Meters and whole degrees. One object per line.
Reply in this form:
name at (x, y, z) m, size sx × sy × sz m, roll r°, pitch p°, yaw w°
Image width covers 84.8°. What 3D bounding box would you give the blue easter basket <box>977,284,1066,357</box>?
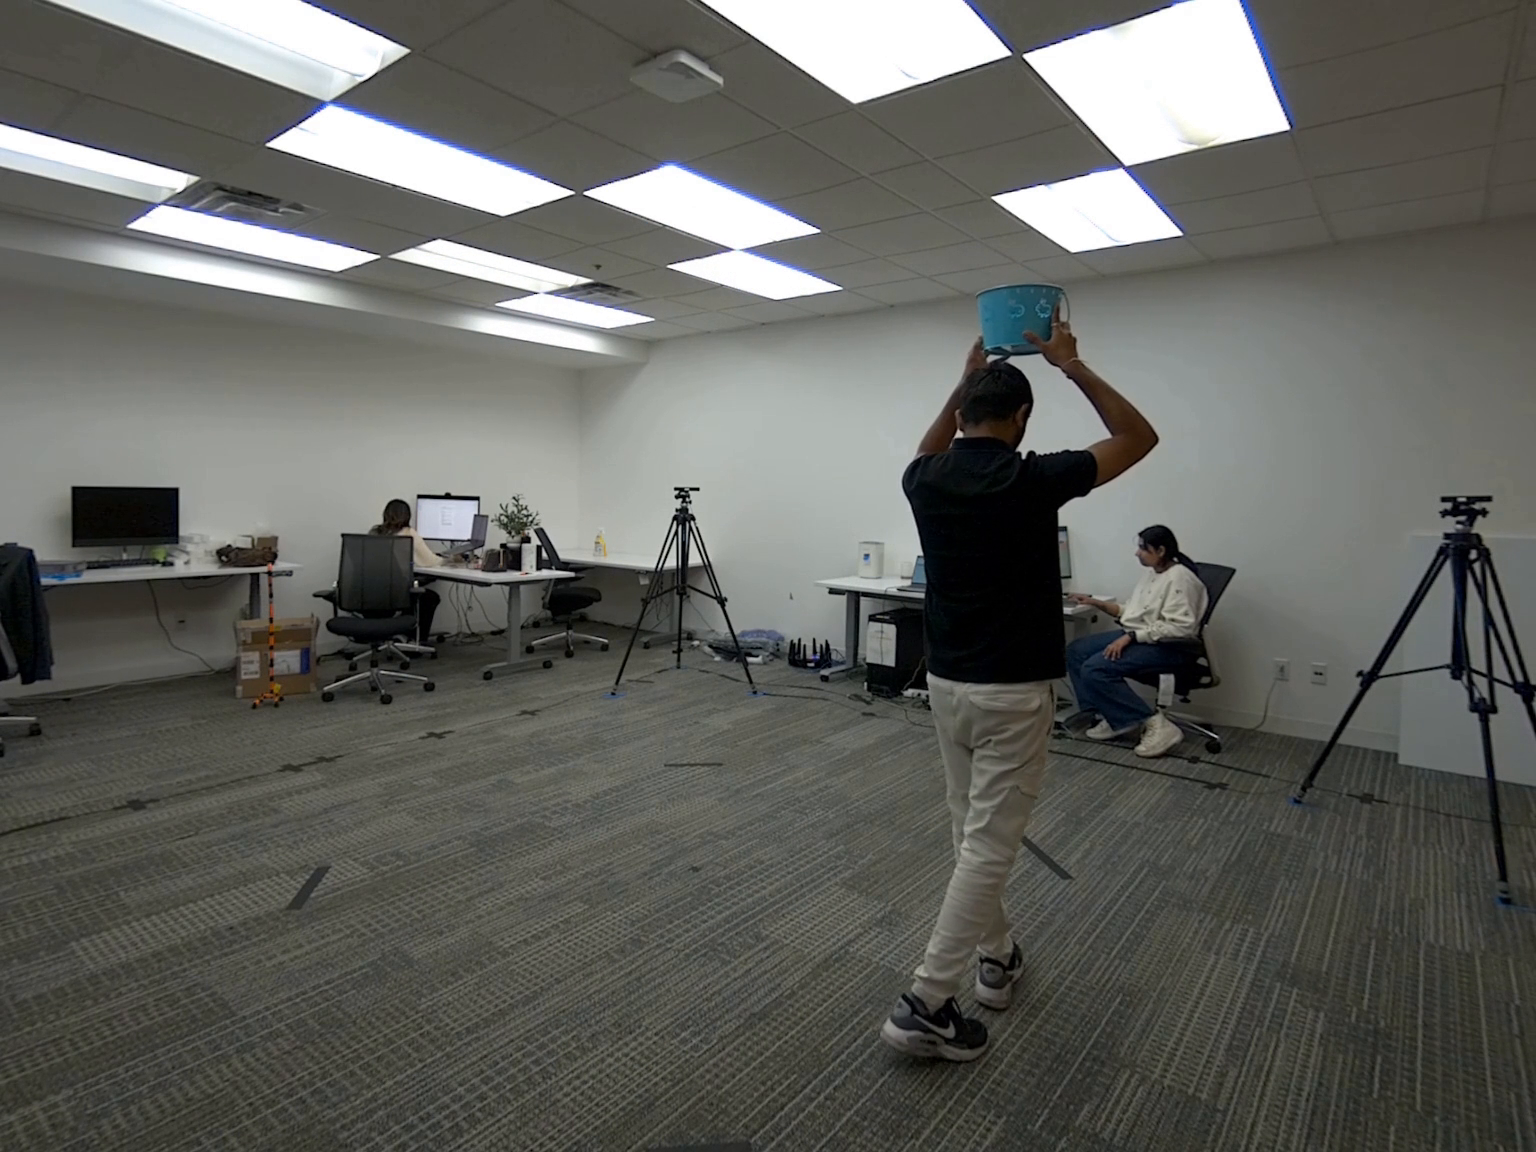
blue easter basket at (0.692, -0.695, 2.302) m, size 0.243 × 0.155 × 0.245 m, roll 0°, pitch 6°, yaw -2°
